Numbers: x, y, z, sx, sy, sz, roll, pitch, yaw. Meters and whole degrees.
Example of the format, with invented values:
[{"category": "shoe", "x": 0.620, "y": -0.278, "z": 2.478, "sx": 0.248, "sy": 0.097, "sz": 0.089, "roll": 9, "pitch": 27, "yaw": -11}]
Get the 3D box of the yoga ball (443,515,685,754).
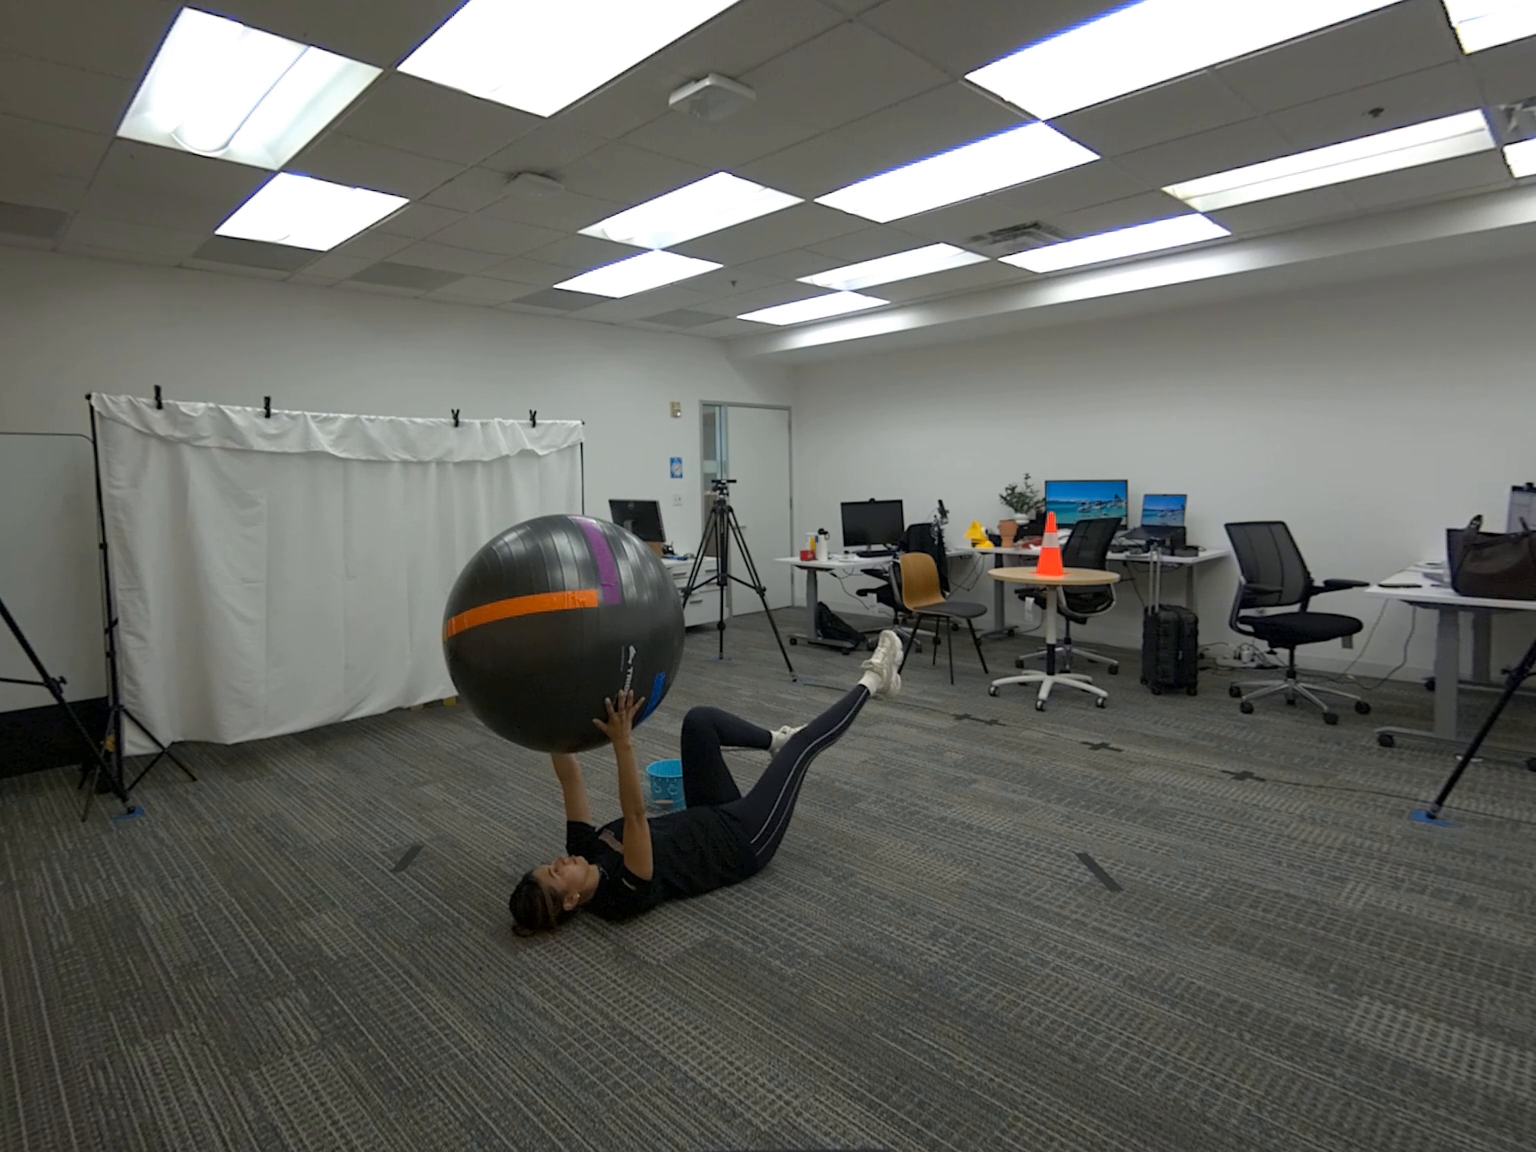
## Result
[{"category": "yoga ball", "x": -0.644, "y": 0.182, "z": 2.738, "sx": 0.757, "sy": 0.757, "sz": 0.759, "roll": 0, "pitch": 1, "yaw": -2}]
